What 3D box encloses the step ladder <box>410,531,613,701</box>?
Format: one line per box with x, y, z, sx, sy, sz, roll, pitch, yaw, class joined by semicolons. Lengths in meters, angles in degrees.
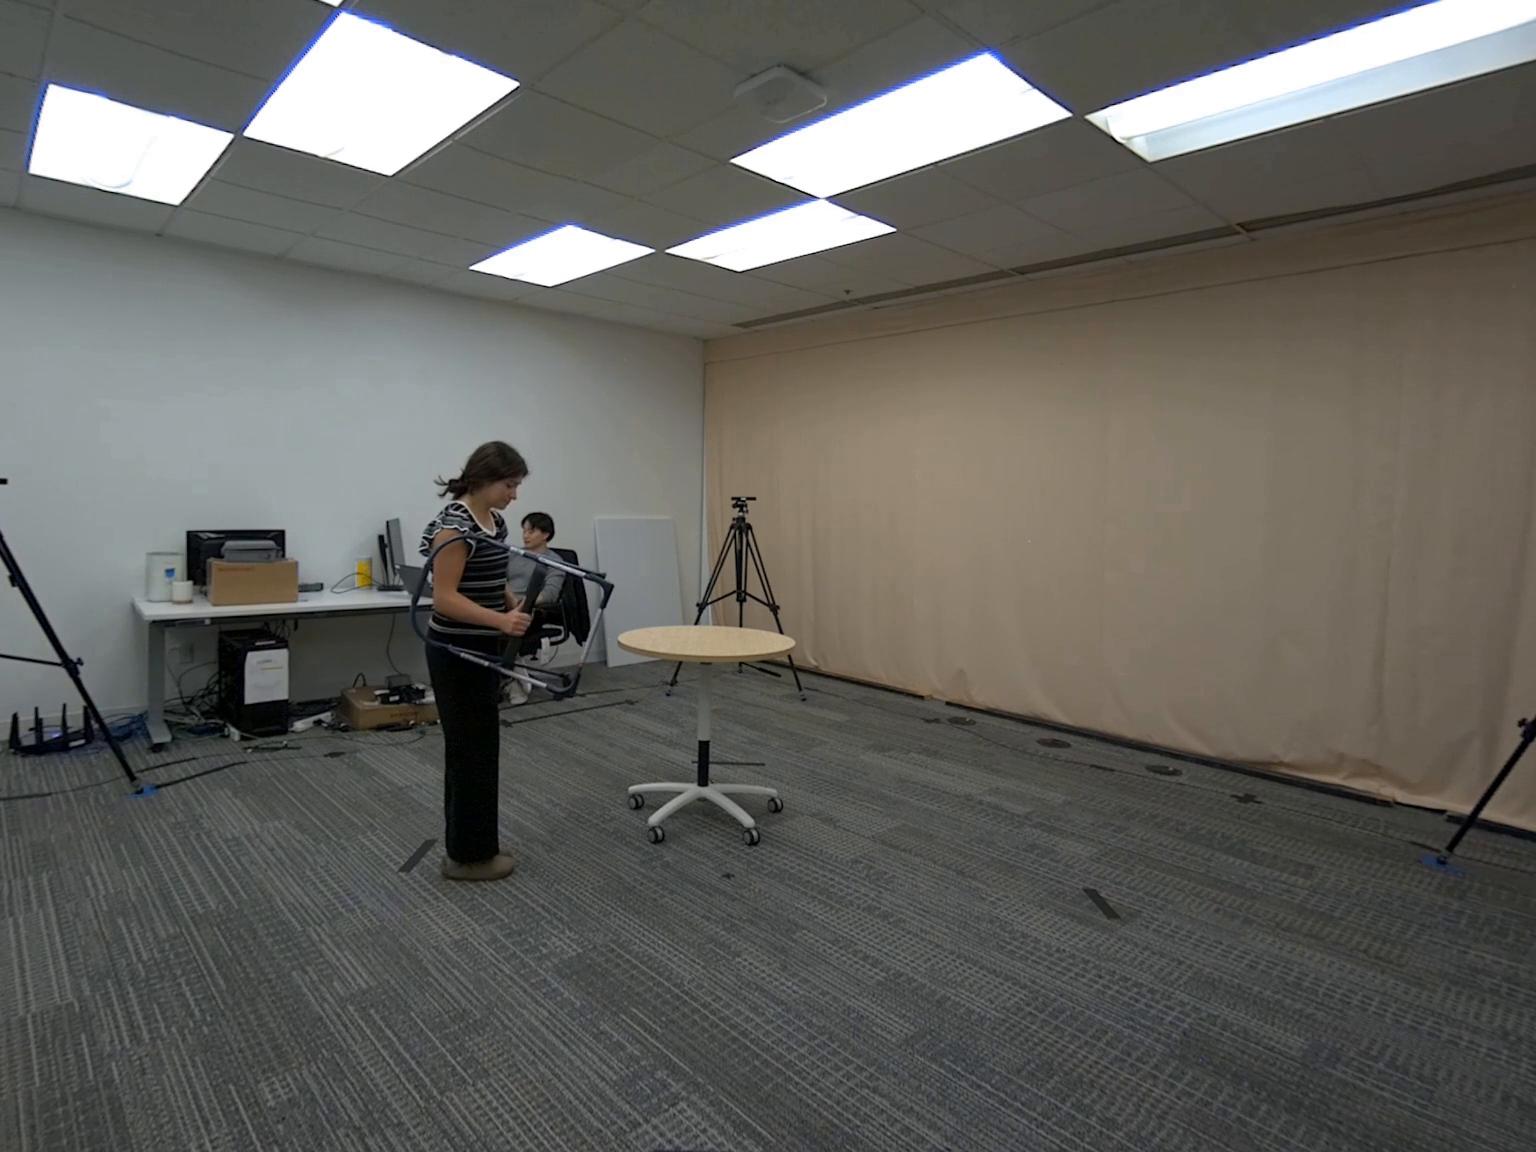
-0.915;0.114;2.930;0.596;0.431;0.354;20;-3;-17;step ladder
